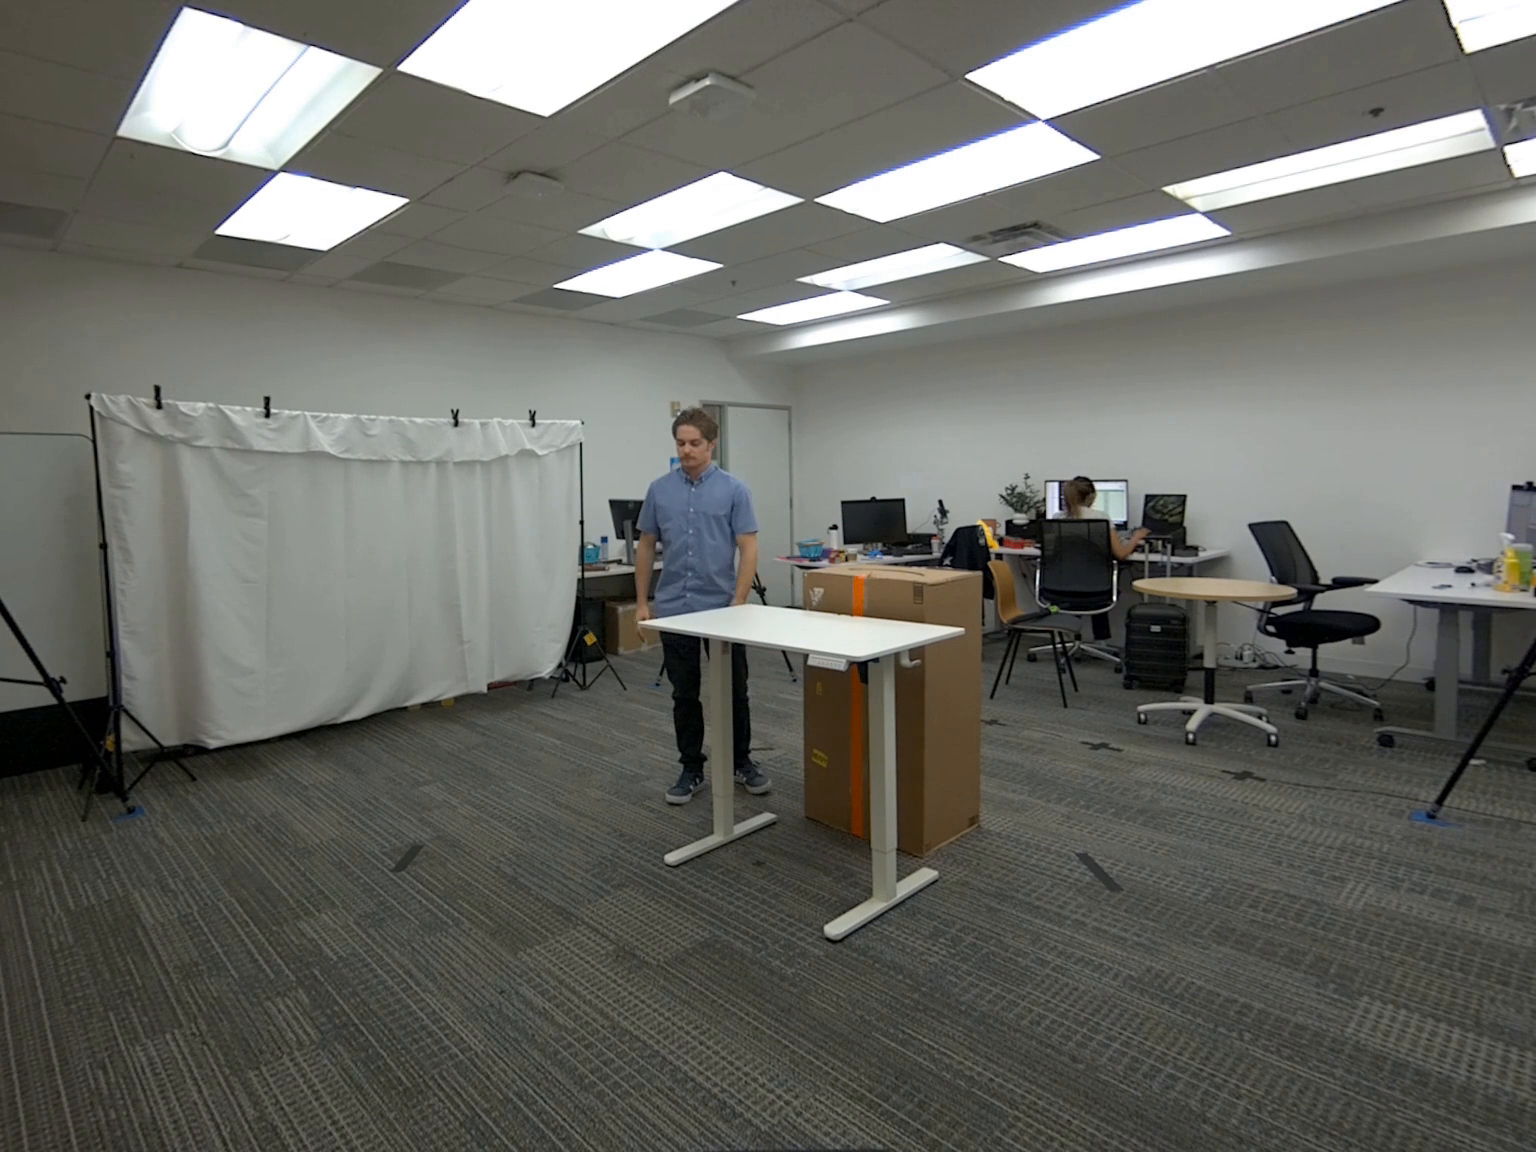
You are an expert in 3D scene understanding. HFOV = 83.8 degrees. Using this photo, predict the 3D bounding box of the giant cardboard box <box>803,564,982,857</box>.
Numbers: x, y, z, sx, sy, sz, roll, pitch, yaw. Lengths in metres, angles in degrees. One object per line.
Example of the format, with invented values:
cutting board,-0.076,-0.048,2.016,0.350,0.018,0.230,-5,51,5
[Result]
giant cardboard box,0.495,0.490,3.442,0.595,1.022,0.415,4,6,45
